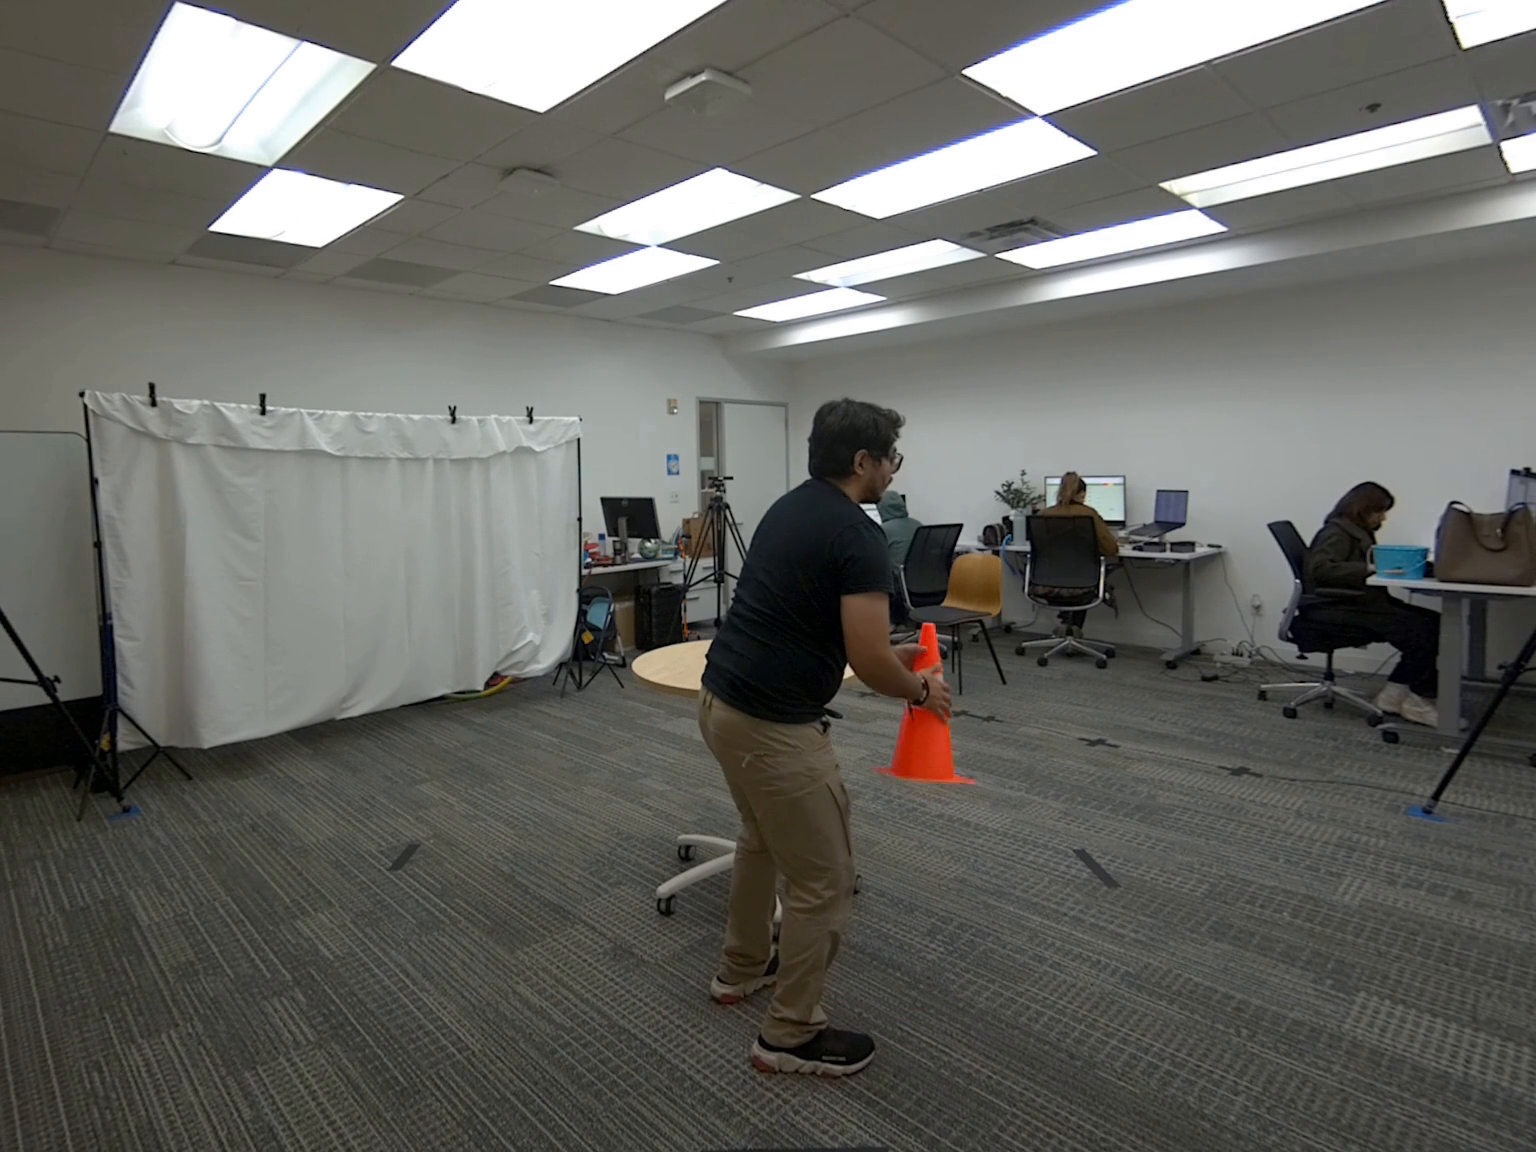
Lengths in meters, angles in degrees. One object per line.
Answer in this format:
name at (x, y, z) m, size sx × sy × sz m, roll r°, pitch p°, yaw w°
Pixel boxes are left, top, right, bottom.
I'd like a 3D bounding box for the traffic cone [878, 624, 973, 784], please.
traffic cone at (0.413, 0.319, 2.164) m, size 0.201 × 0.385 × 0.206 m, roll 6°, pitch -5°, yaw -19°
